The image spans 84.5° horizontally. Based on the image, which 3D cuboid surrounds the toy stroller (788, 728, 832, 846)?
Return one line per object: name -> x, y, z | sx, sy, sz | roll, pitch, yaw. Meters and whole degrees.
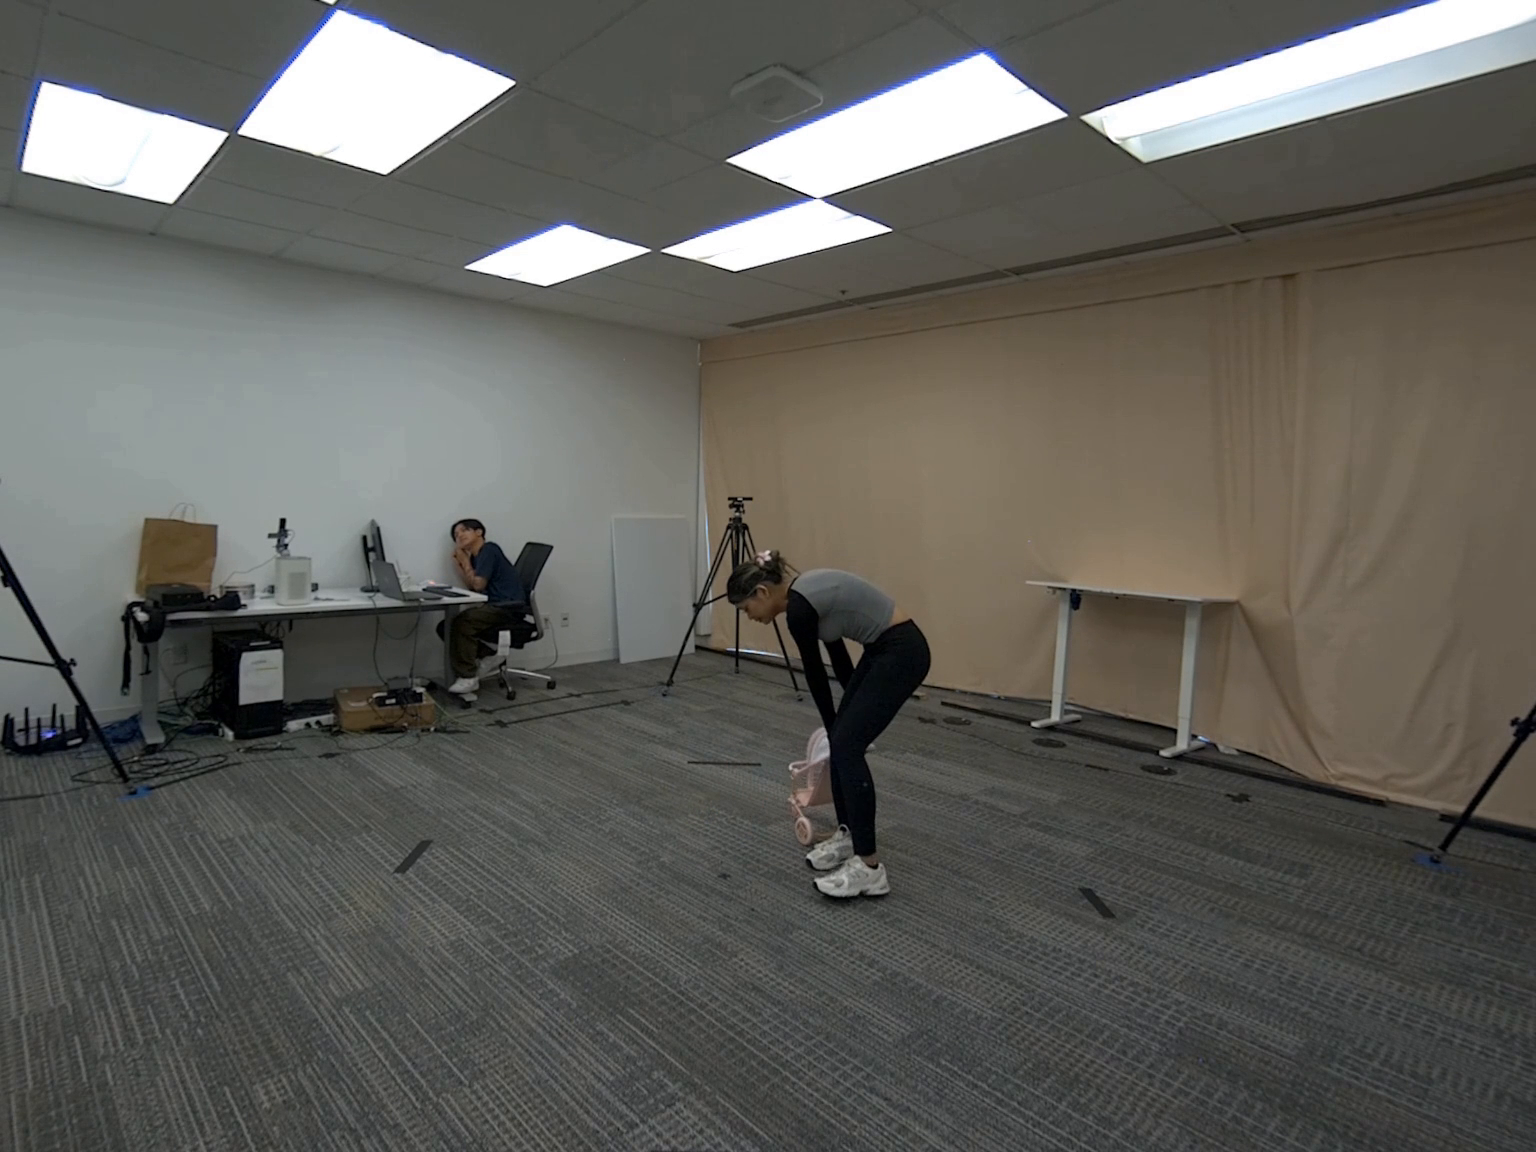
toy stroller -> 0.223, 0.853, 3.510 | 0.276, 0.530, 0.351 | 1, 19, -25
